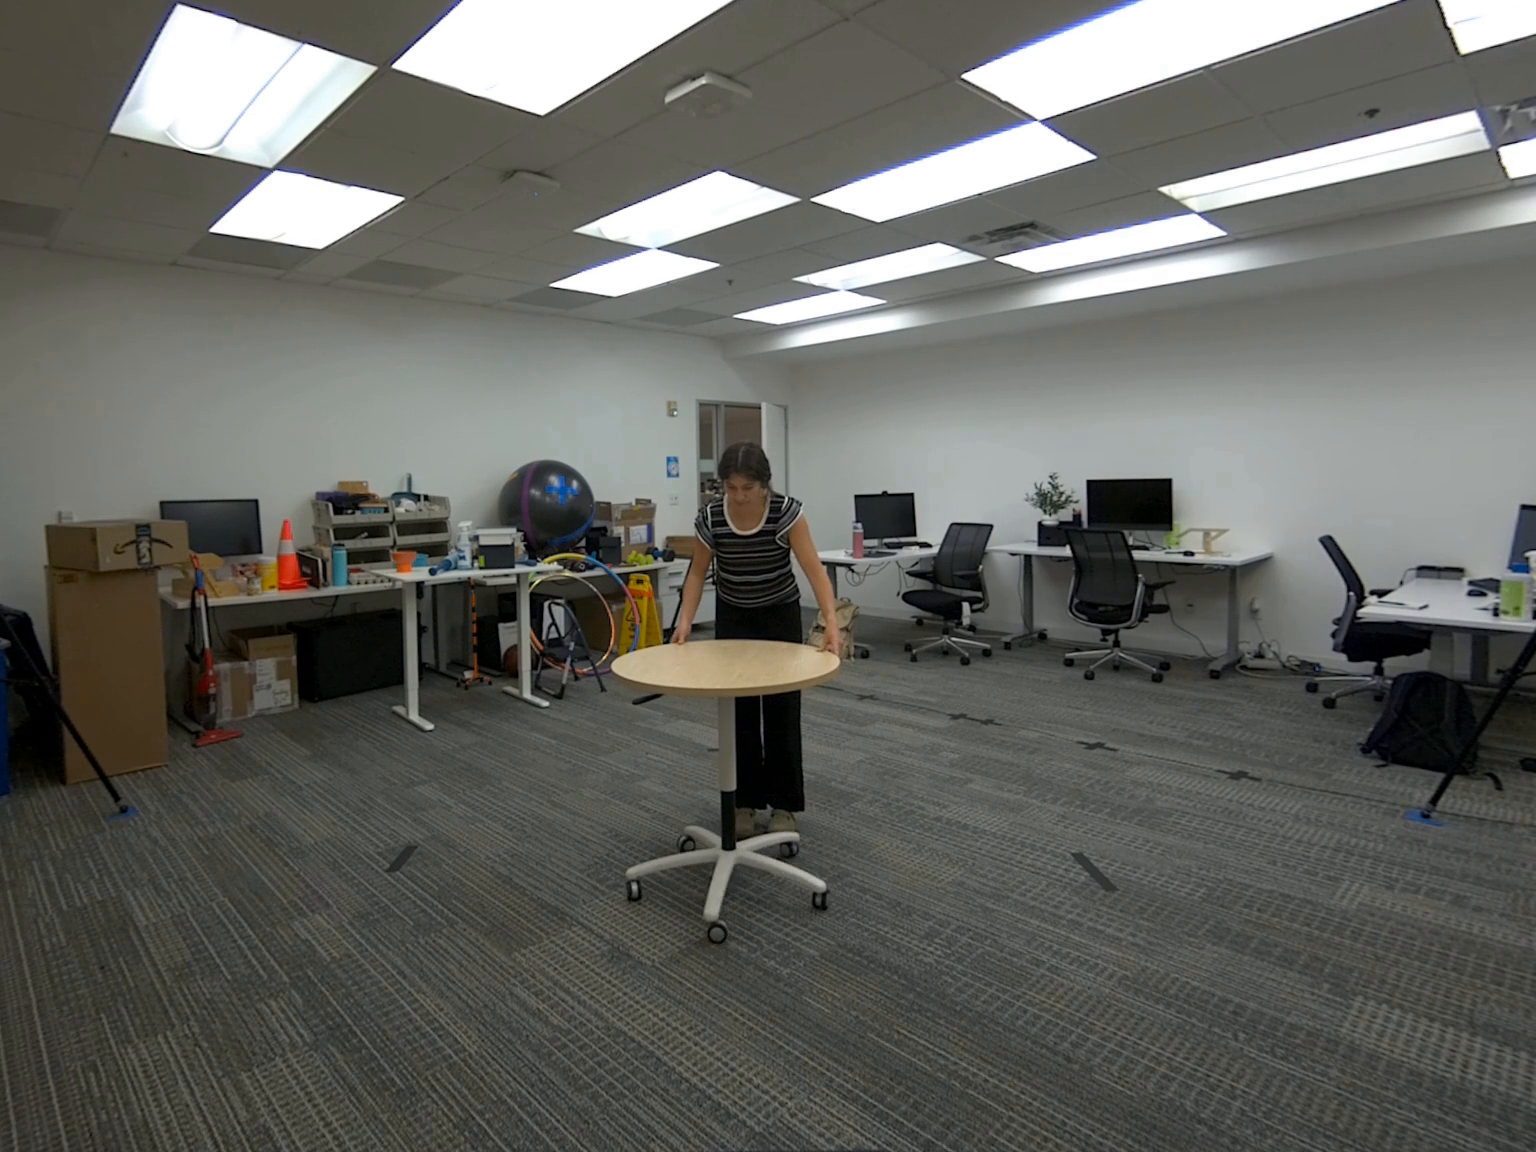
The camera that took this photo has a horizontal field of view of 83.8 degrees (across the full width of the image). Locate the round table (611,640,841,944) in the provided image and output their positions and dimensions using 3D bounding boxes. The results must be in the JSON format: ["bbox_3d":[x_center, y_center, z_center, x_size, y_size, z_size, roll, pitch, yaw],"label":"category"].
[{"bbox_3d":[-0.123,0.675,2.901,0.784,0.784,0.789,-1,5,-2],"label":"round table"}]
